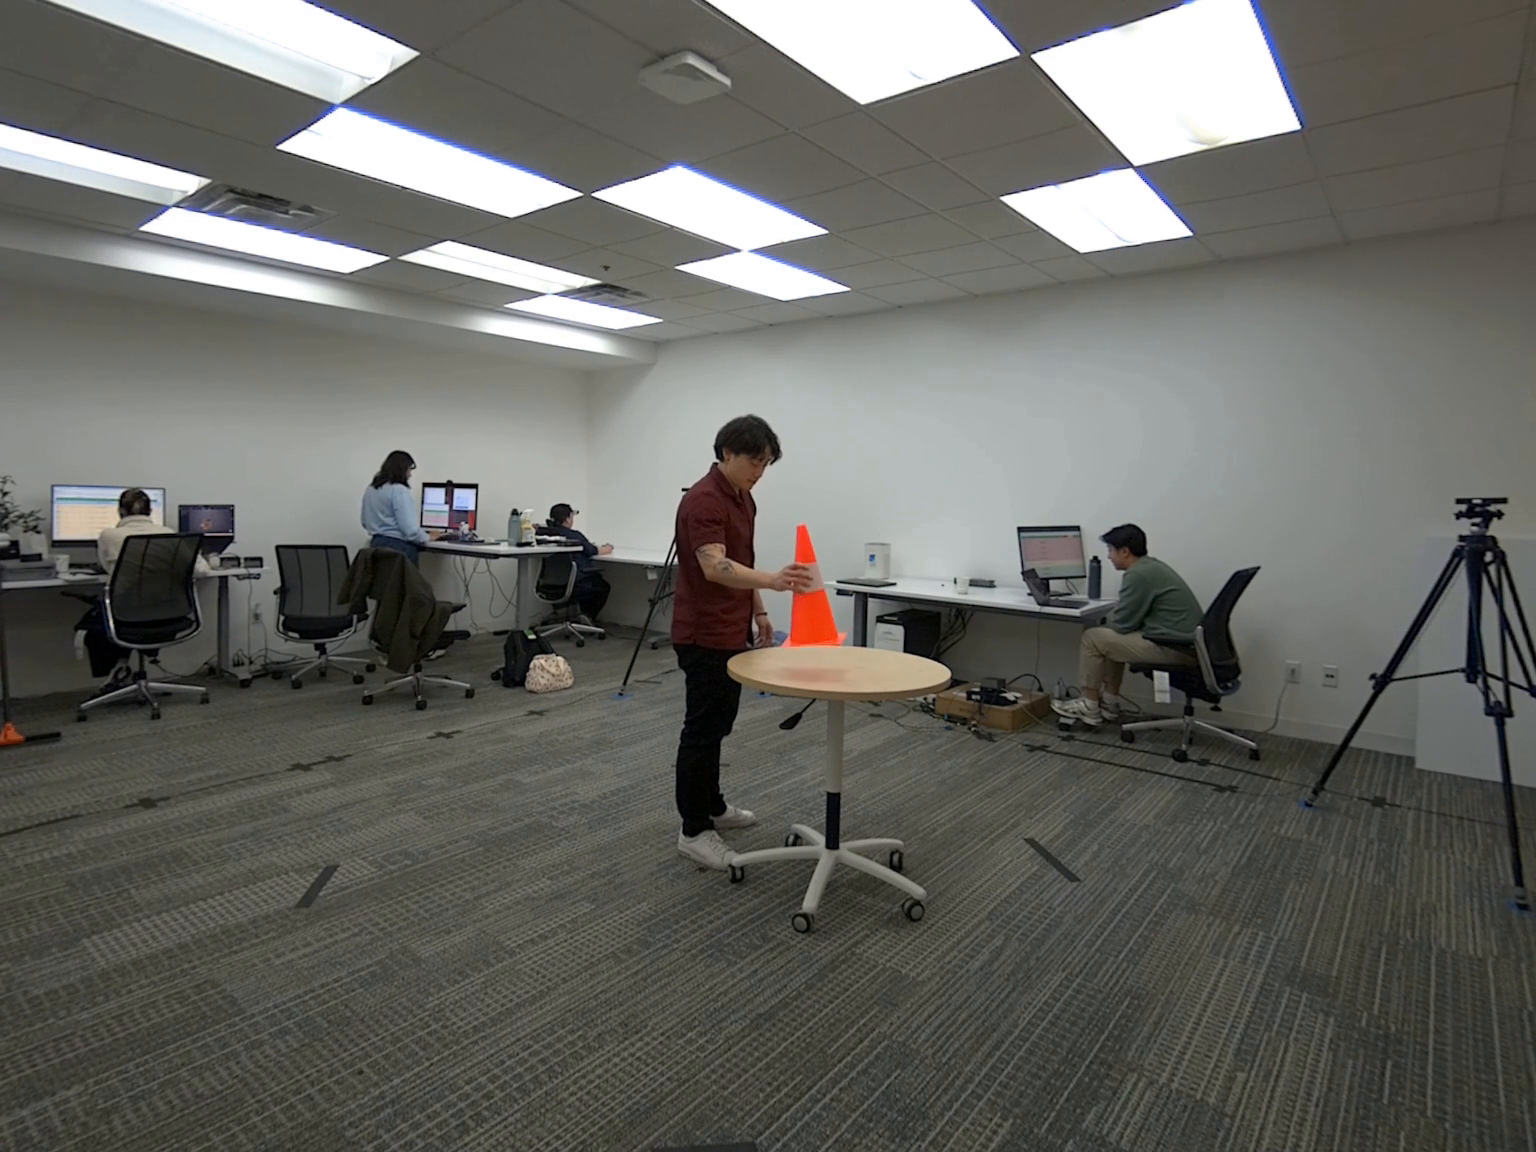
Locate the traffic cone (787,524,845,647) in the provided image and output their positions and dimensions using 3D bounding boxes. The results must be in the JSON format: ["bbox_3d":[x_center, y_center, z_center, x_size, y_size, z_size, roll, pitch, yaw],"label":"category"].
[{"bbox_3d":[0.124,0.016,2.795,0.208,0.383,0.201,-6,1,14],"label":"traffic cone"}]
